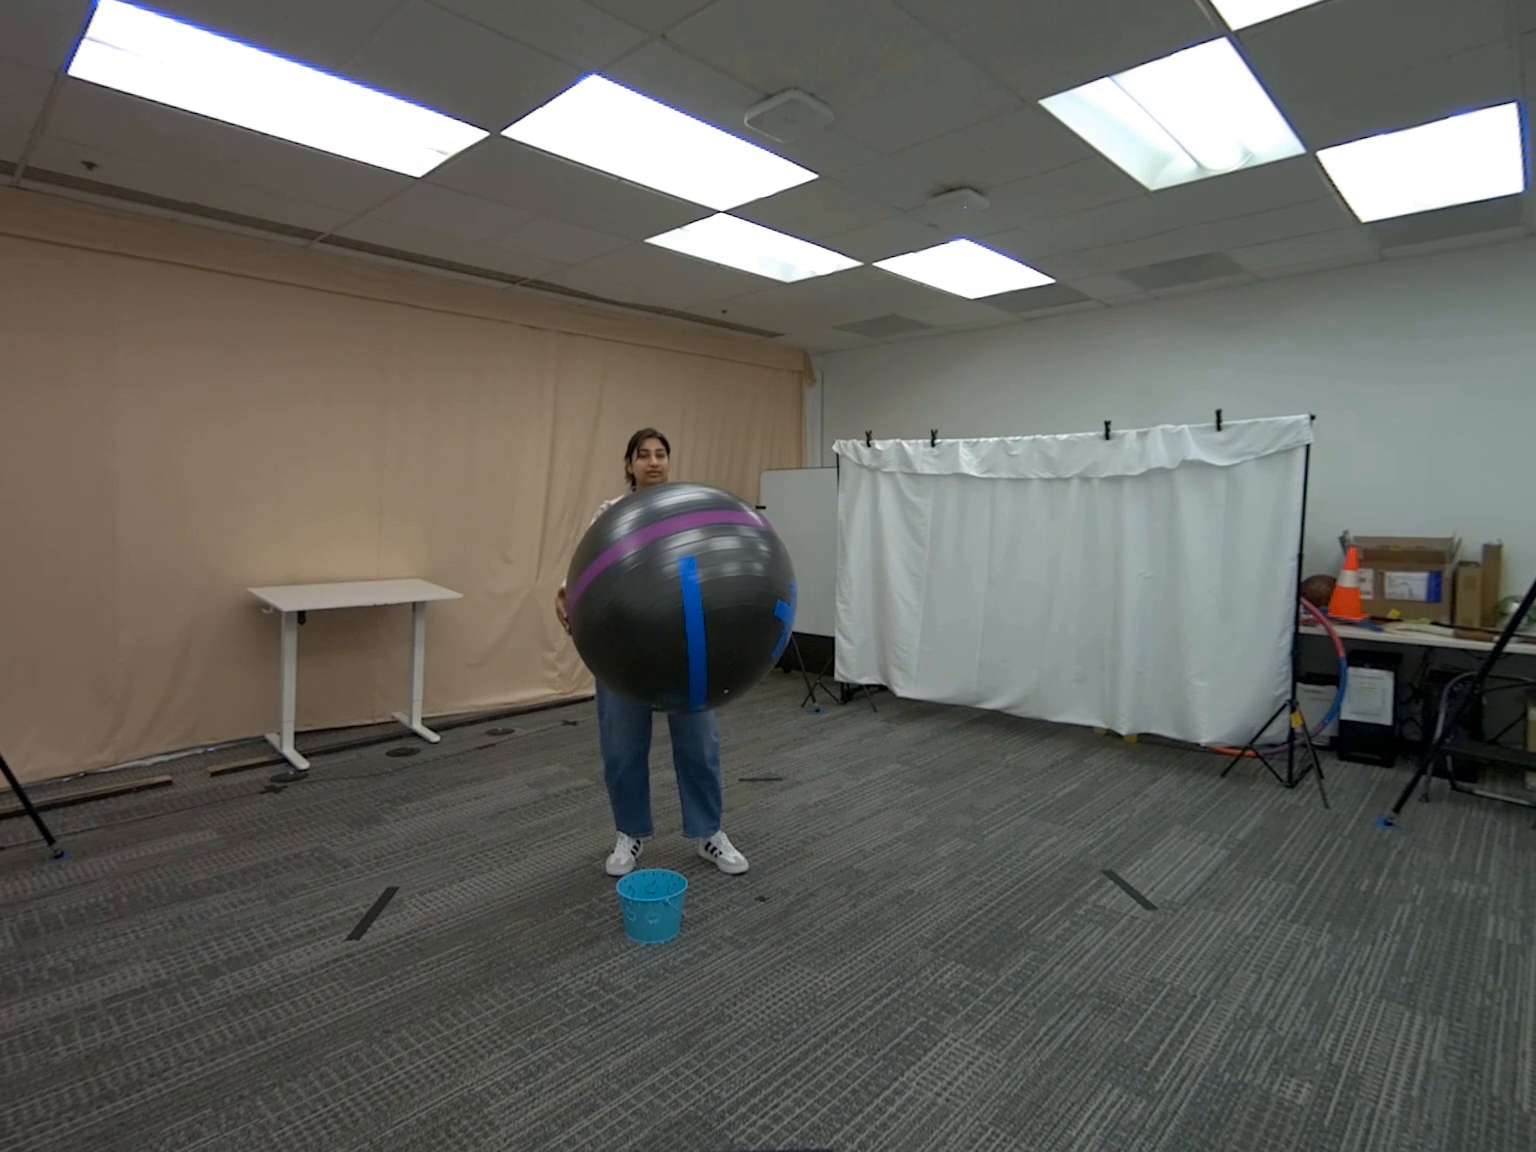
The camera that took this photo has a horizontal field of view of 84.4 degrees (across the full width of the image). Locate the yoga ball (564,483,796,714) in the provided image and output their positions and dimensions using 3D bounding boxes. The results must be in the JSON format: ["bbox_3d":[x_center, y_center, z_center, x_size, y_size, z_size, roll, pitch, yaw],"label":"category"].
[{"bbox_3d":[-0.288,0.073,2.771,0.757,0.756,0.761,0,4,-2],"label":"yoga ball"}]
